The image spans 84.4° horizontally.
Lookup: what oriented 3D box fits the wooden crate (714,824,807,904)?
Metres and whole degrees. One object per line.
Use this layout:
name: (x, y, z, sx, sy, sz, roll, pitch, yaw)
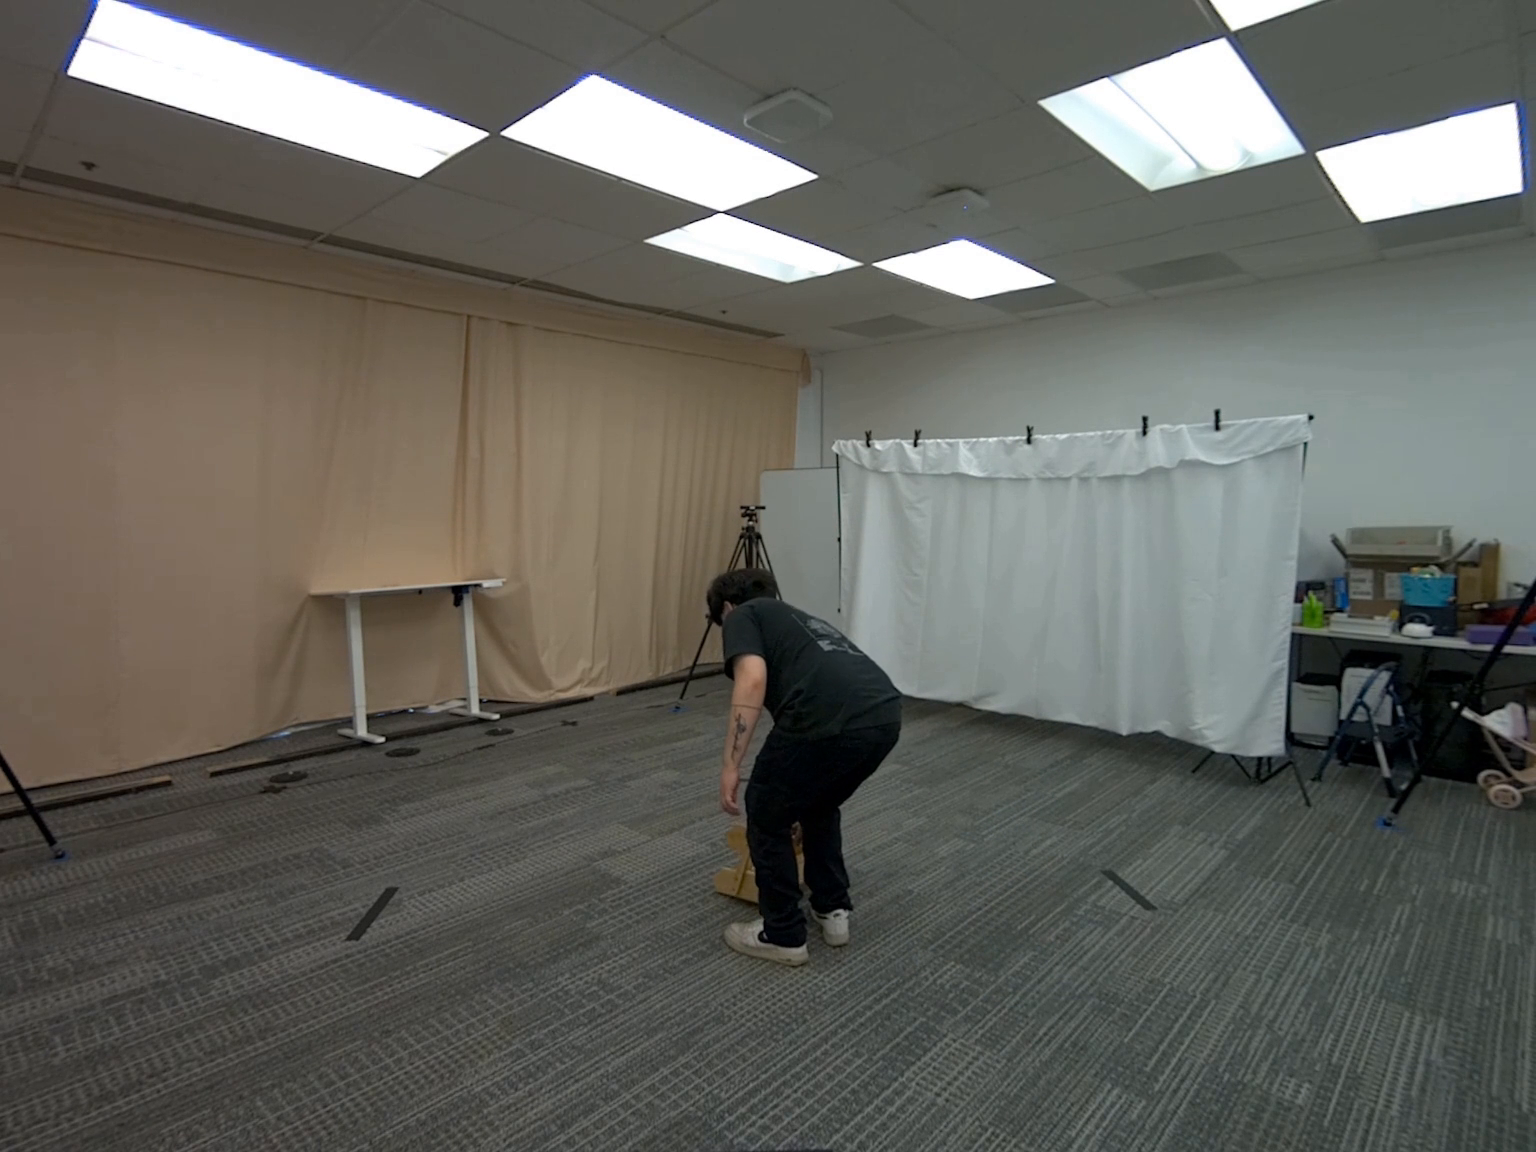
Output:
wooden crate: (-0.006, 0.972, 3.040, 0.311, 0.273, 0.315, -4, 3, 43)
